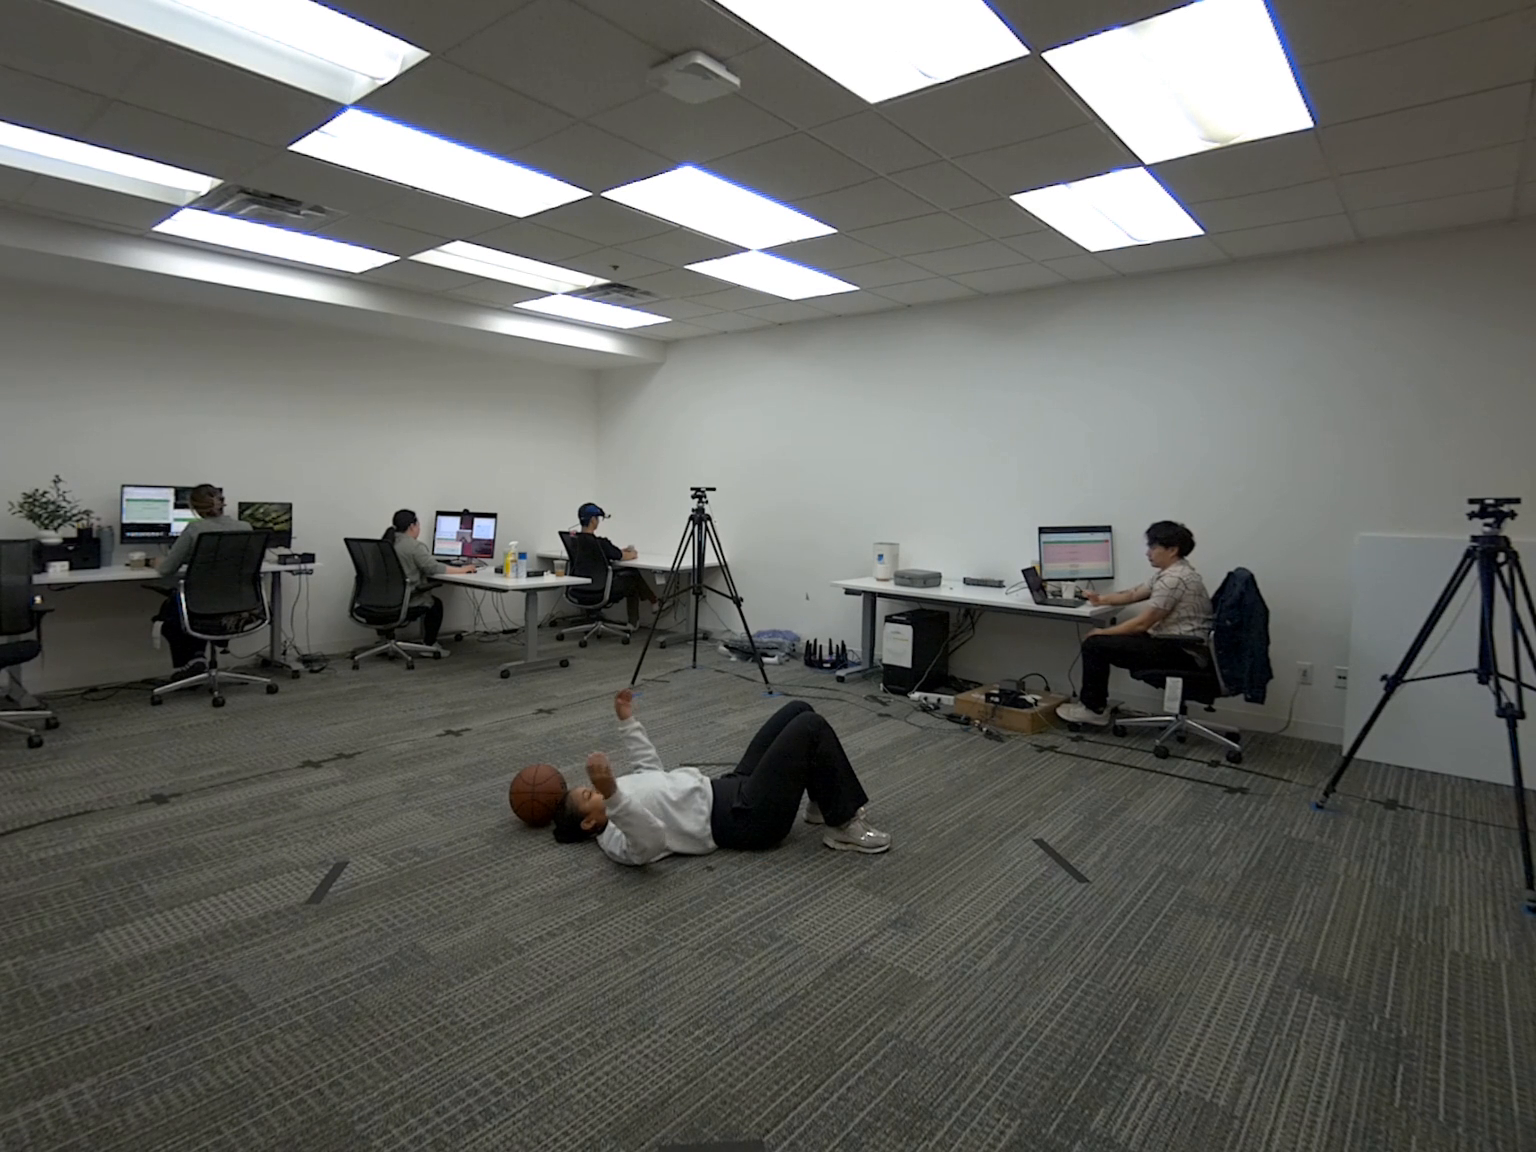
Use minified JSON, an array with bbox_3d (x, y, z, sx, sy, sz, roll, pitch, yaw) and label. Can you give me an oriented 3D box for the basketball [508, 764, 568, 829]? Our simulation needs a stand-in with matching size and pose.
[{"bbox_3d":[-0.962,0.891,3.508,0.235,0.235,0.237,1,4,-2],"label":"basketball"}]
